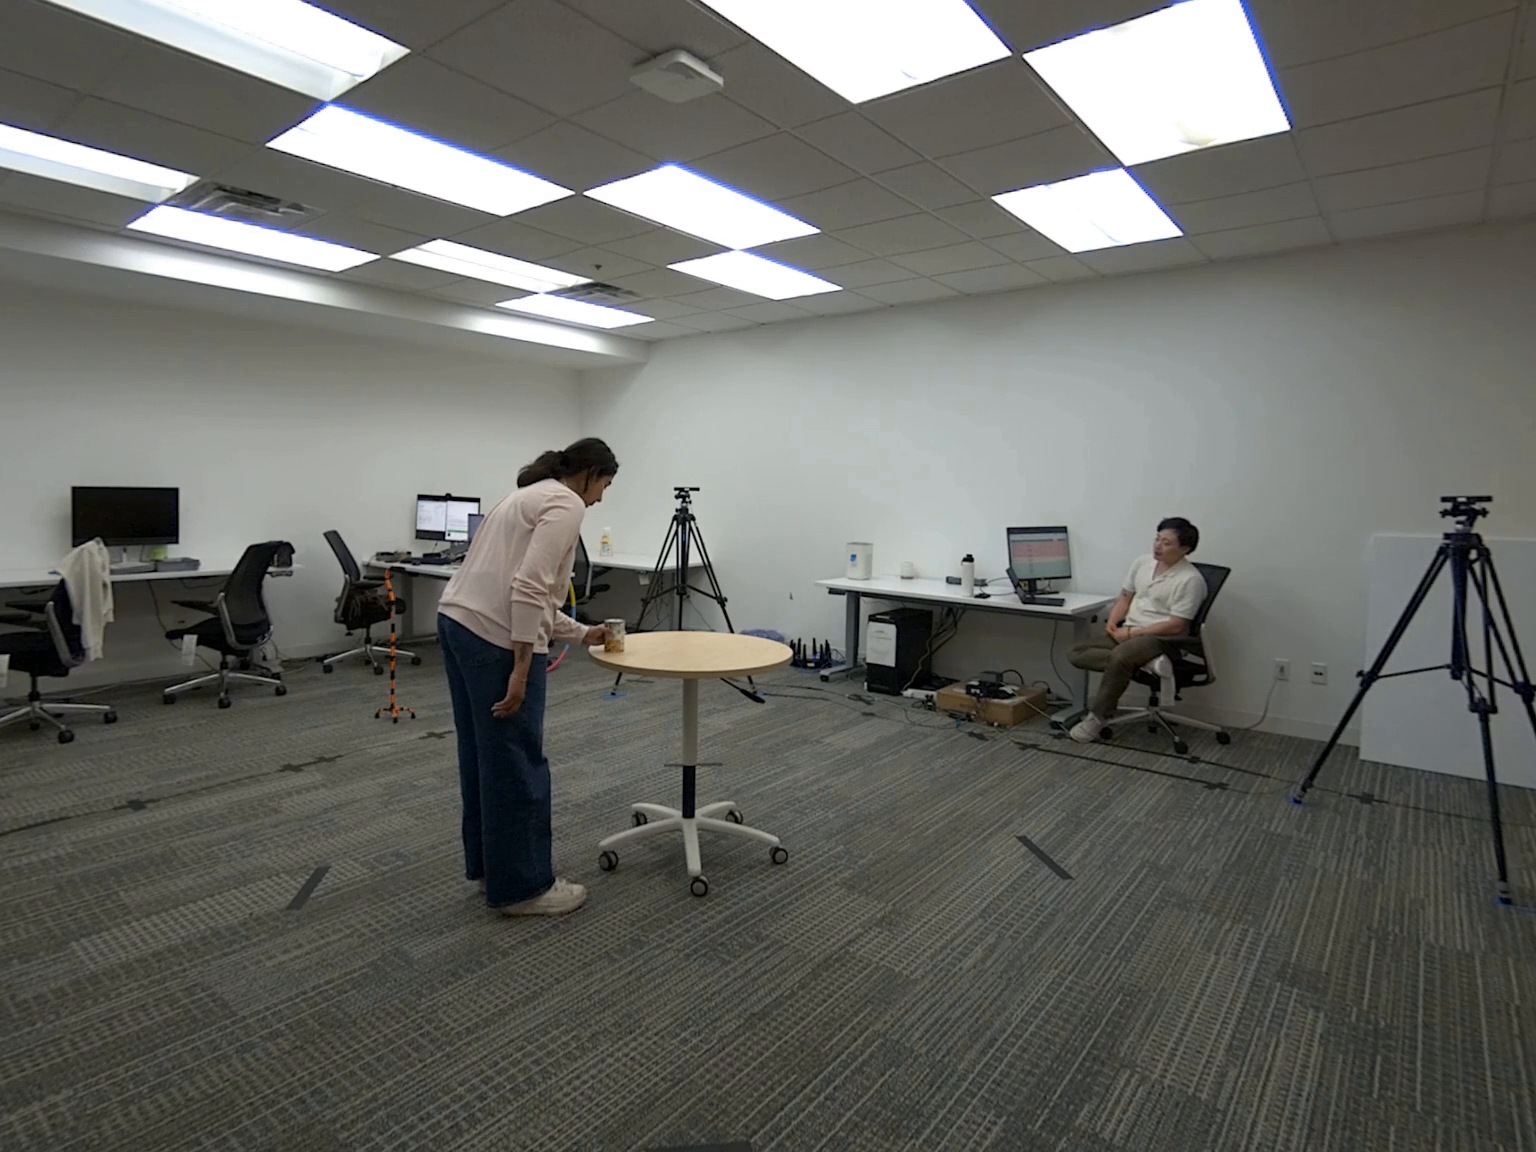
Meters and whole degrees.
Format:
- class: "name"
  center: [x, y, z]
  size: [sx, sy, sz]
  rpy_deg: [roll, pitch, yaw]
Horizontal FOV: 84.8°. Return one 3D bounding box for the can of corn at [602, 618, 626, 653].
- class: "can of corn"
  center: [-0.580, 0.219, 3.133]
  size: [0.074, 0.111, 0.074]
  rpy_deg: [0, 4, -2]
